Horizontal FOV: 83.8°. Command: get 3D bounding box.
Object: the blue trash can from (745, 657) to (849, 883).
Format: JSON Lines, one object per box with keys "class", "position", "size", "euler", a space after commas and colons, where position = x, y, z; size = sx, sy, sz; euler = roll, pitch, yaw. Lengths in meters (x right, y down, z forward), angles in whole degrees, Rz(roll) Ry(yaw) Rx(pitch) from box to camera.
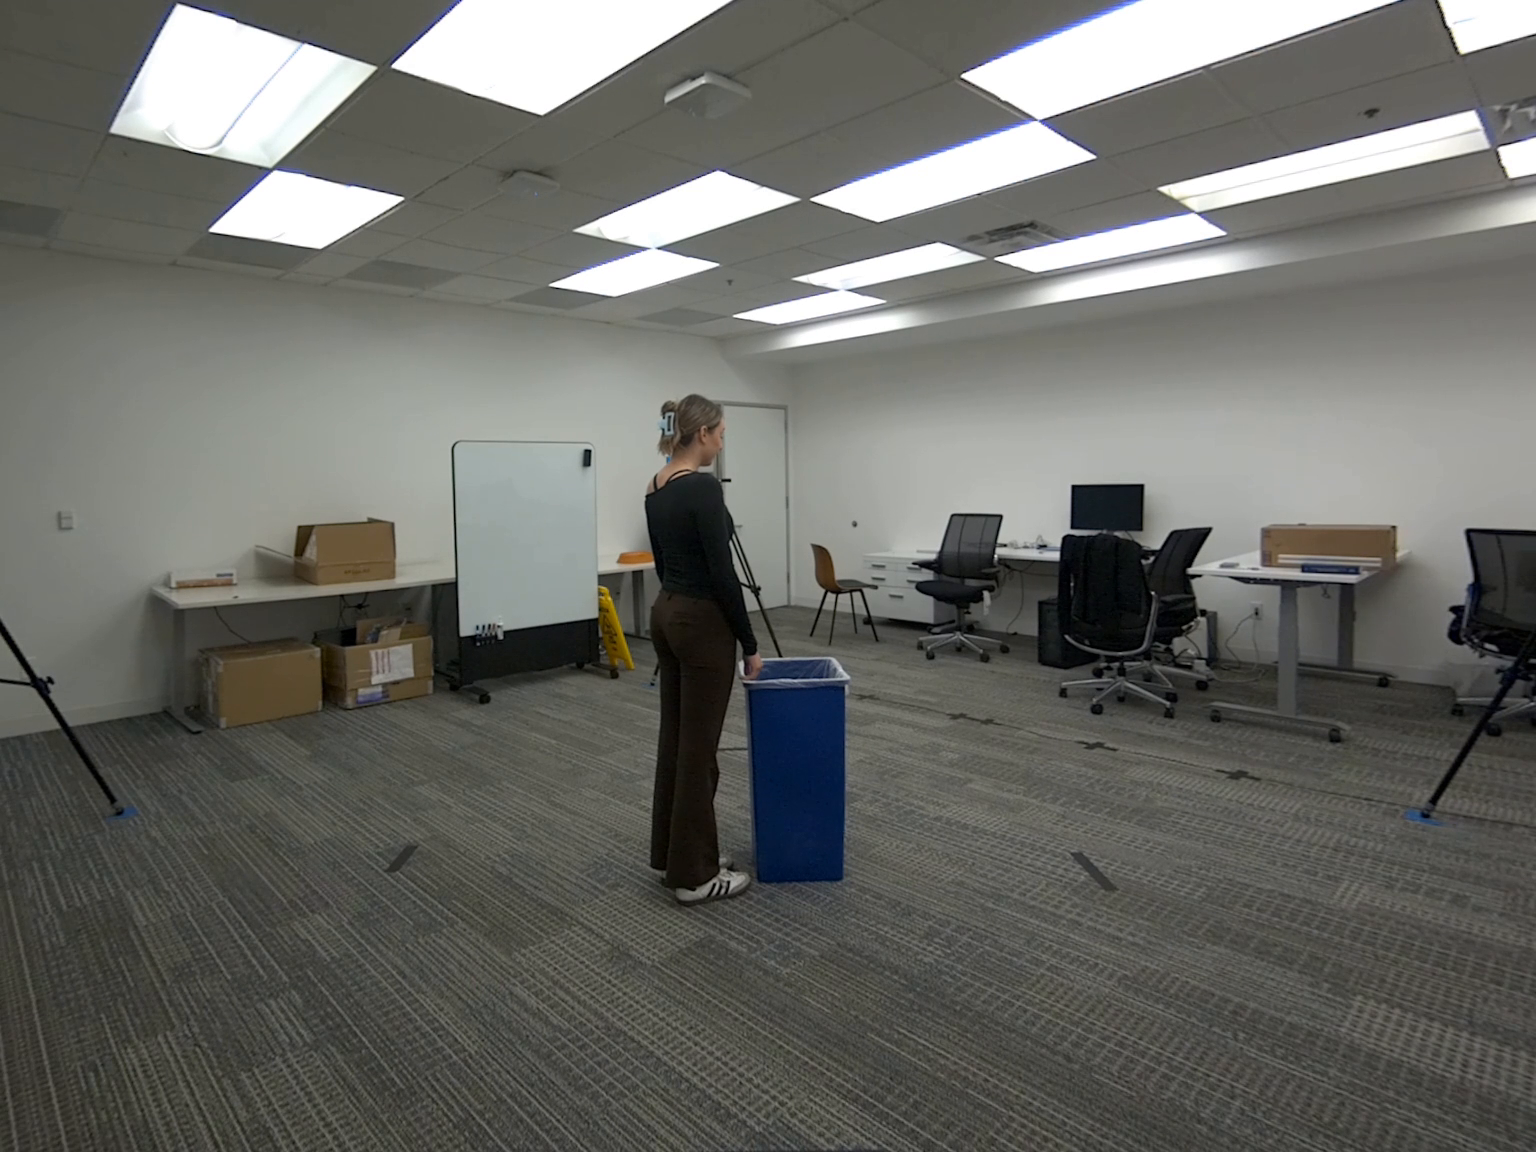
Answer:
{"class": "blue trash can", "position": [0.090, 0.685, 3.083], "size": [0.374, 0.711, 0.380], "euler": [-1, 4, -2]}
